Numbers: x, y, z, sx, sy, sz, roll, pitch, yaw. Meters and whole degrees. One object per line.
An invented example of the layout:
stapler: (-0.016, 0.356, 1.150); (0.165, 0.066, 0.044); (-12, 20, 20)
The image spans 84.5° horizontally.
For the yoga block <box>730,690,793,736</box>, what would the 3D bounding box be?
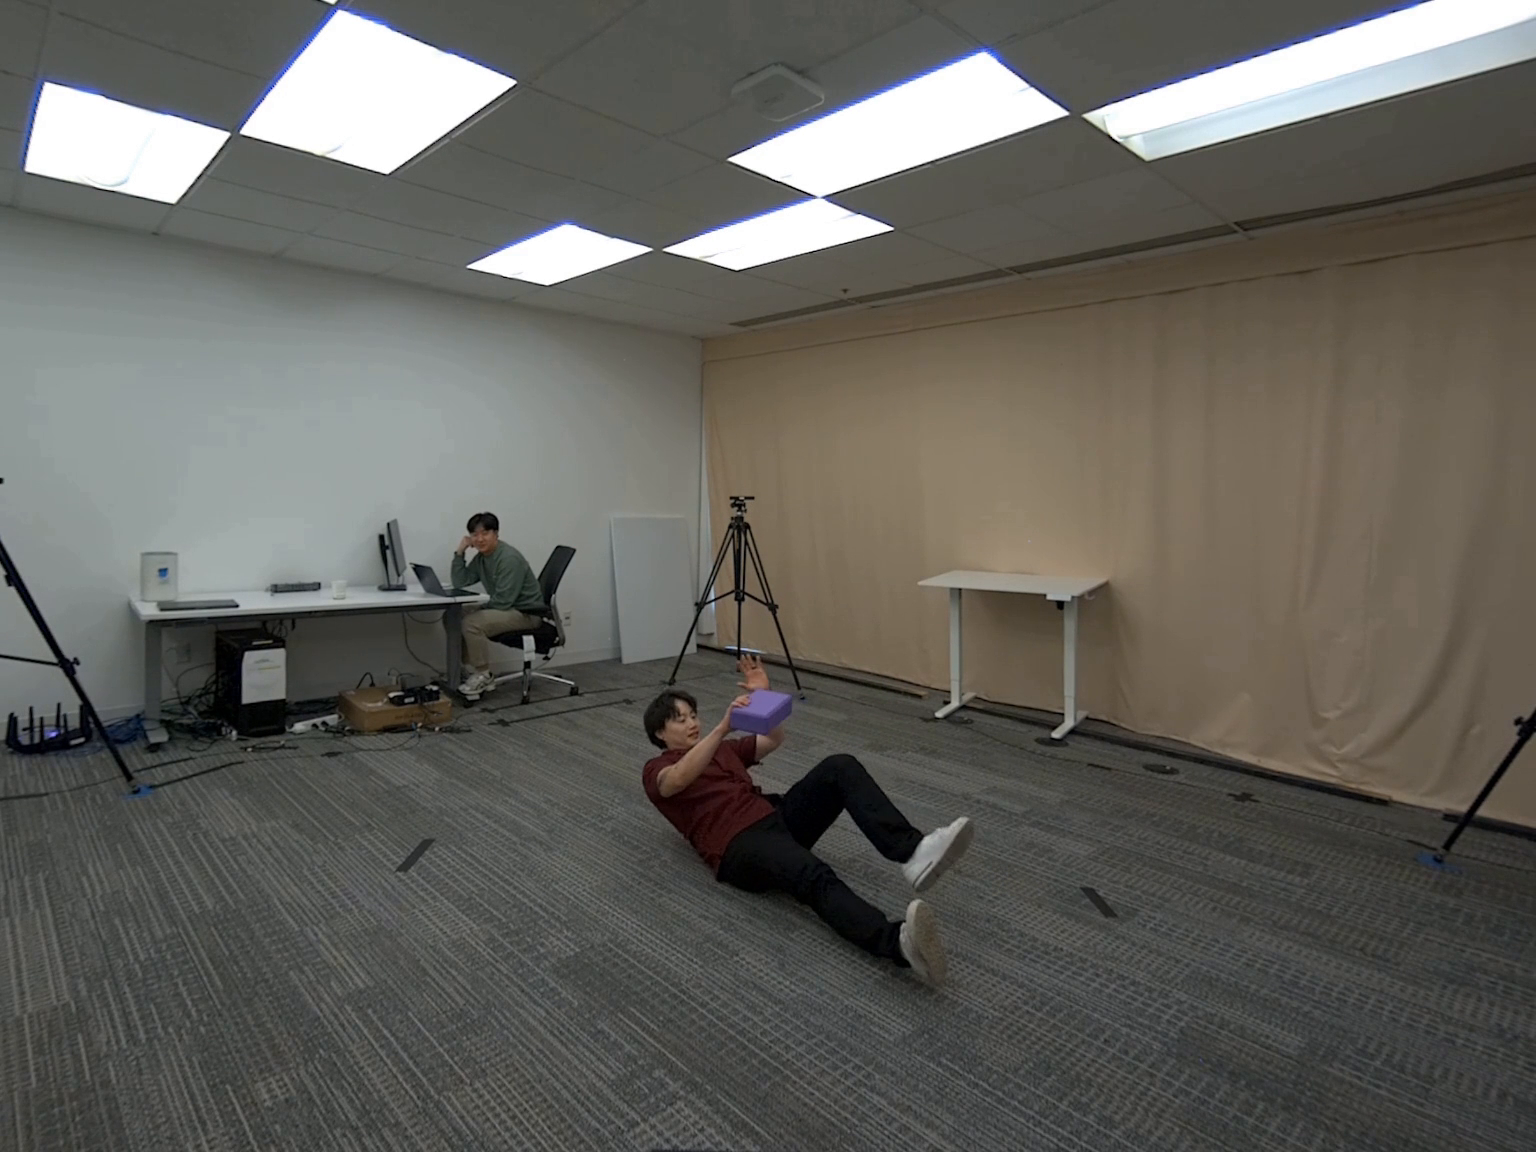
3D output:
yoga block: (-0.027, 0.494, 3.055); (0.152, 0.076, 0.227); (5, 15, 23)
